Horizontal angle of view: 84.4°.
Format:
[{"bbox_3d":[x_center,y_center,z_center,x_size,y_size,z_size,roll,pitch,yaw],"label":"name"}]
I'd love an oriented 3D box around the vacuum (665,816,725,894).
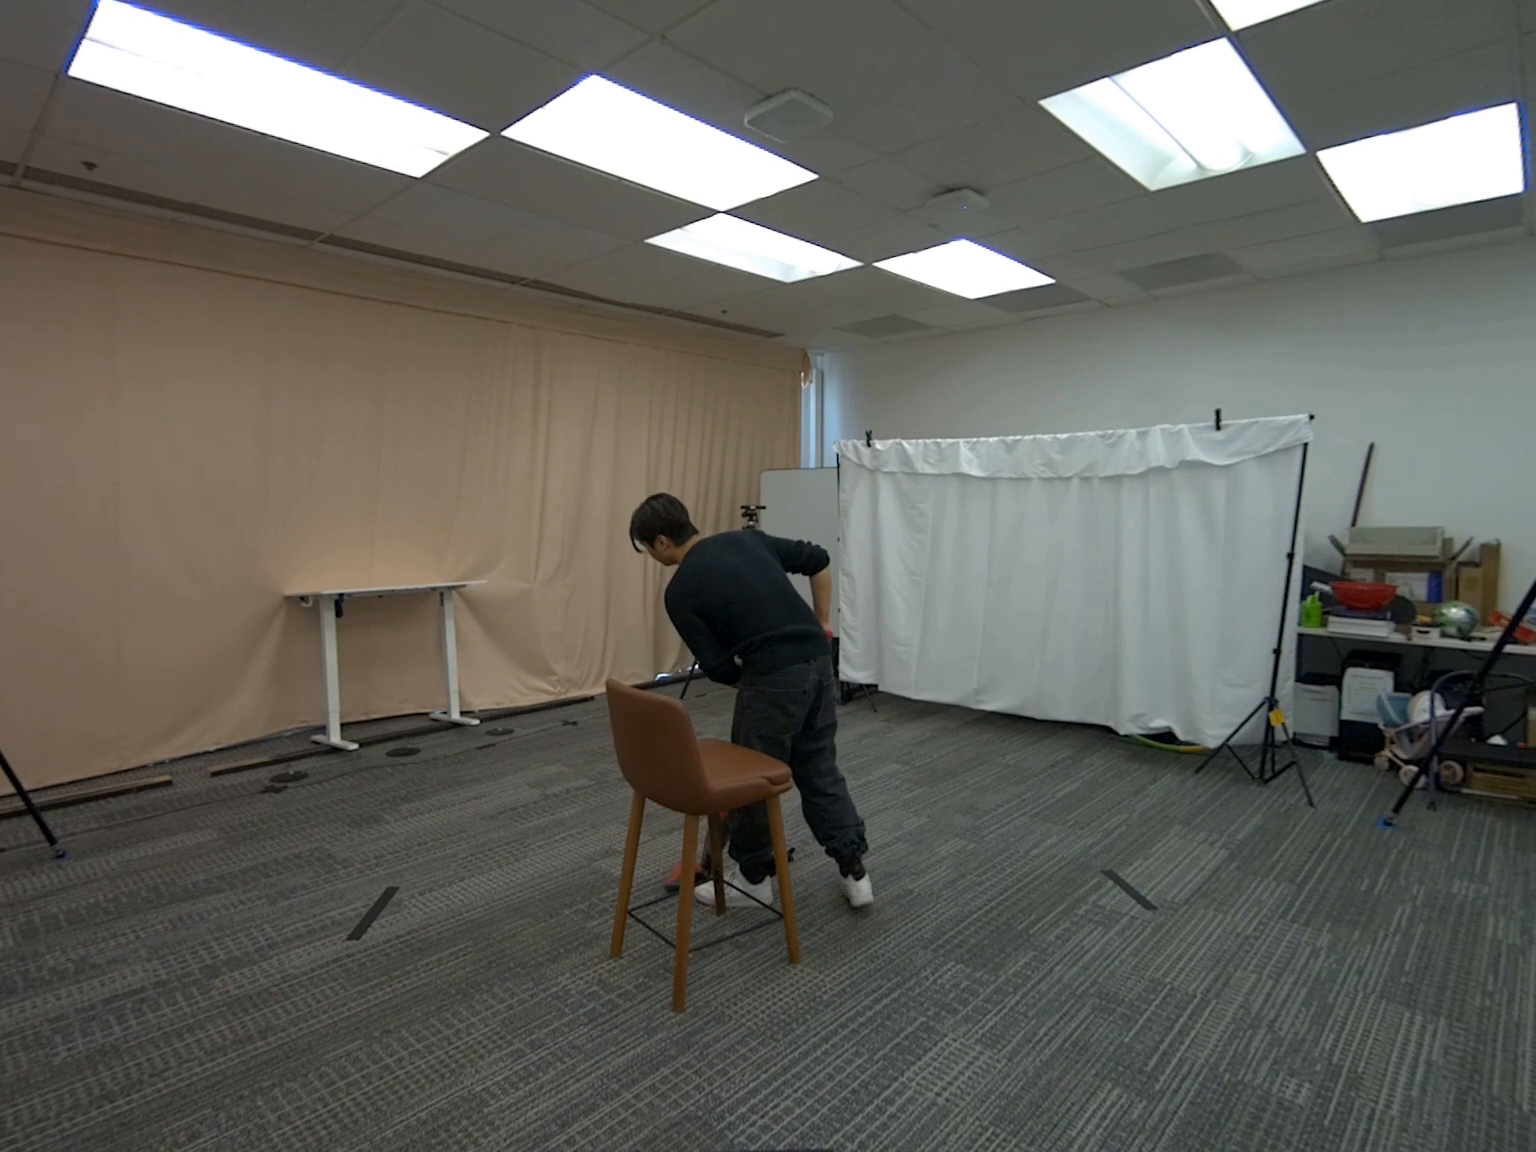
[{"bbox_3d":[-0.046,0.684,3.097,0.145,1.049,0.250,31,5,6],"label":"vacuum"}]
